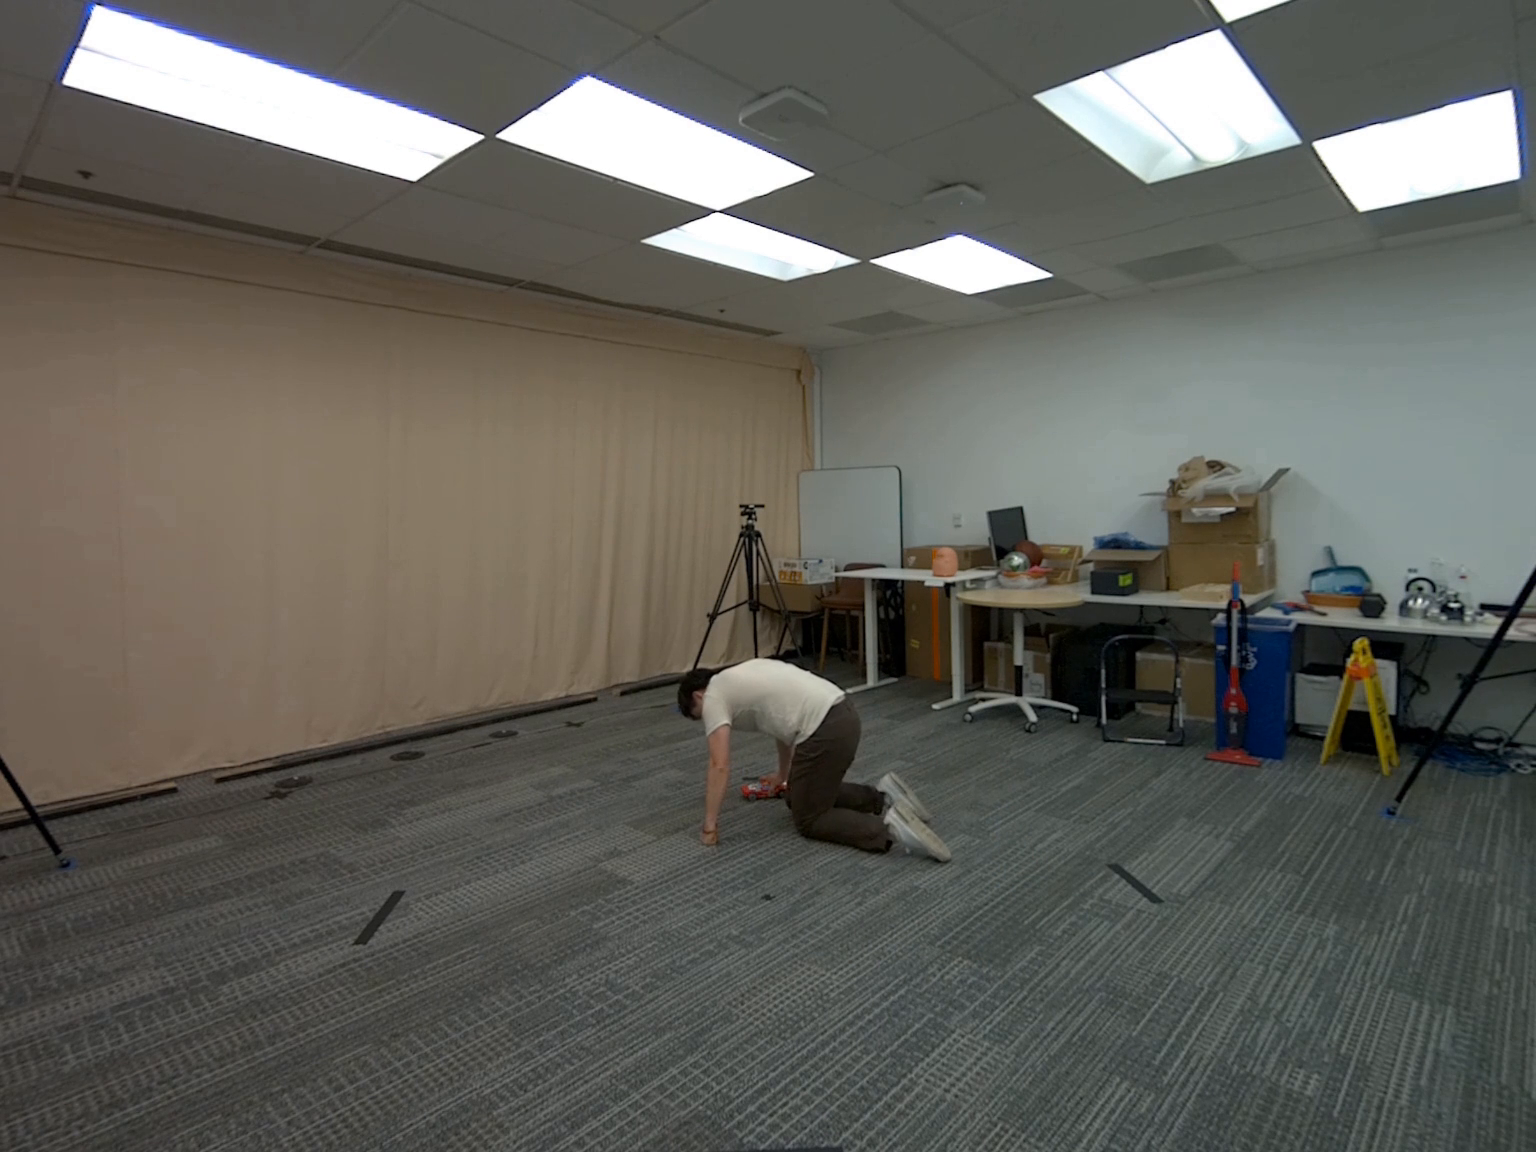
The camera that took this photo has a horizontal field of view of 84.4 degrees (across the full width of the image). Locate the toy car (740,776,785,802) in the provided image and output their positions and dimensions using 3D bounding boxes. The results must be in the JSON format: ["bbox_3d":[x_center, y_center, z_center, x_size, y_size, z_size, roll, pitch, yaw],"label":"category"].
[{"bbox_3d":[-0.001,1.026,4.036,0.251,0.083,0.132,-10,7,-13],"label":"toy car"}]
